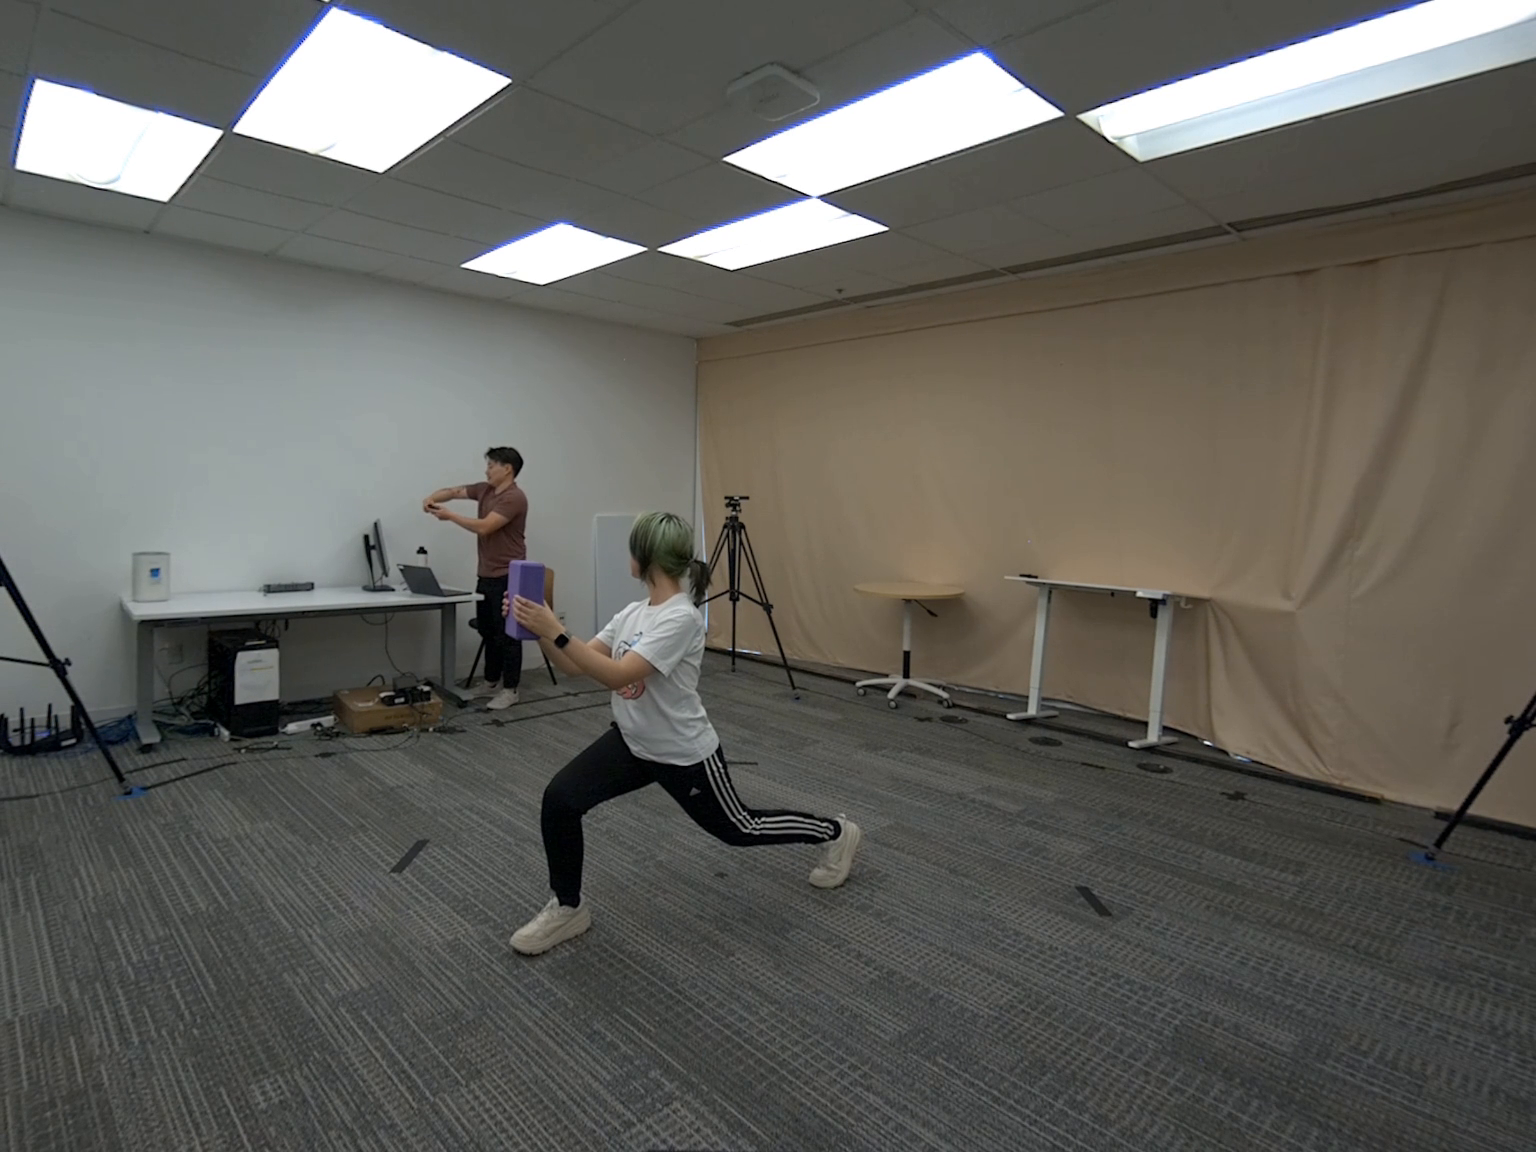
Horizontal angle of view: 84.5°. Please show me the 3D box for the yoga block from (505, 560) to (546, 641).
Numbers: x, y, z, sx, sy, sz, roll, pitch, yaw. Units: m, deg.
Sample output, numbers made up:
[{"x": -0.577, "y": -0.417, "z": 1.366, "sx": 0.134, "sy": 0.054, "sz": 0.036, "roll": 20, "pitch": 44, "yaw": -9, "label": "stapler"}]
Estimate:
[{"x": -0.739, "y": 0.073, "z": 2.531, "sx": 0.075, "sy": 0.229, "sz": 0.152, "roll": 4, "pitch": 0, "yaw": -29, "label": "yoga block"}]
